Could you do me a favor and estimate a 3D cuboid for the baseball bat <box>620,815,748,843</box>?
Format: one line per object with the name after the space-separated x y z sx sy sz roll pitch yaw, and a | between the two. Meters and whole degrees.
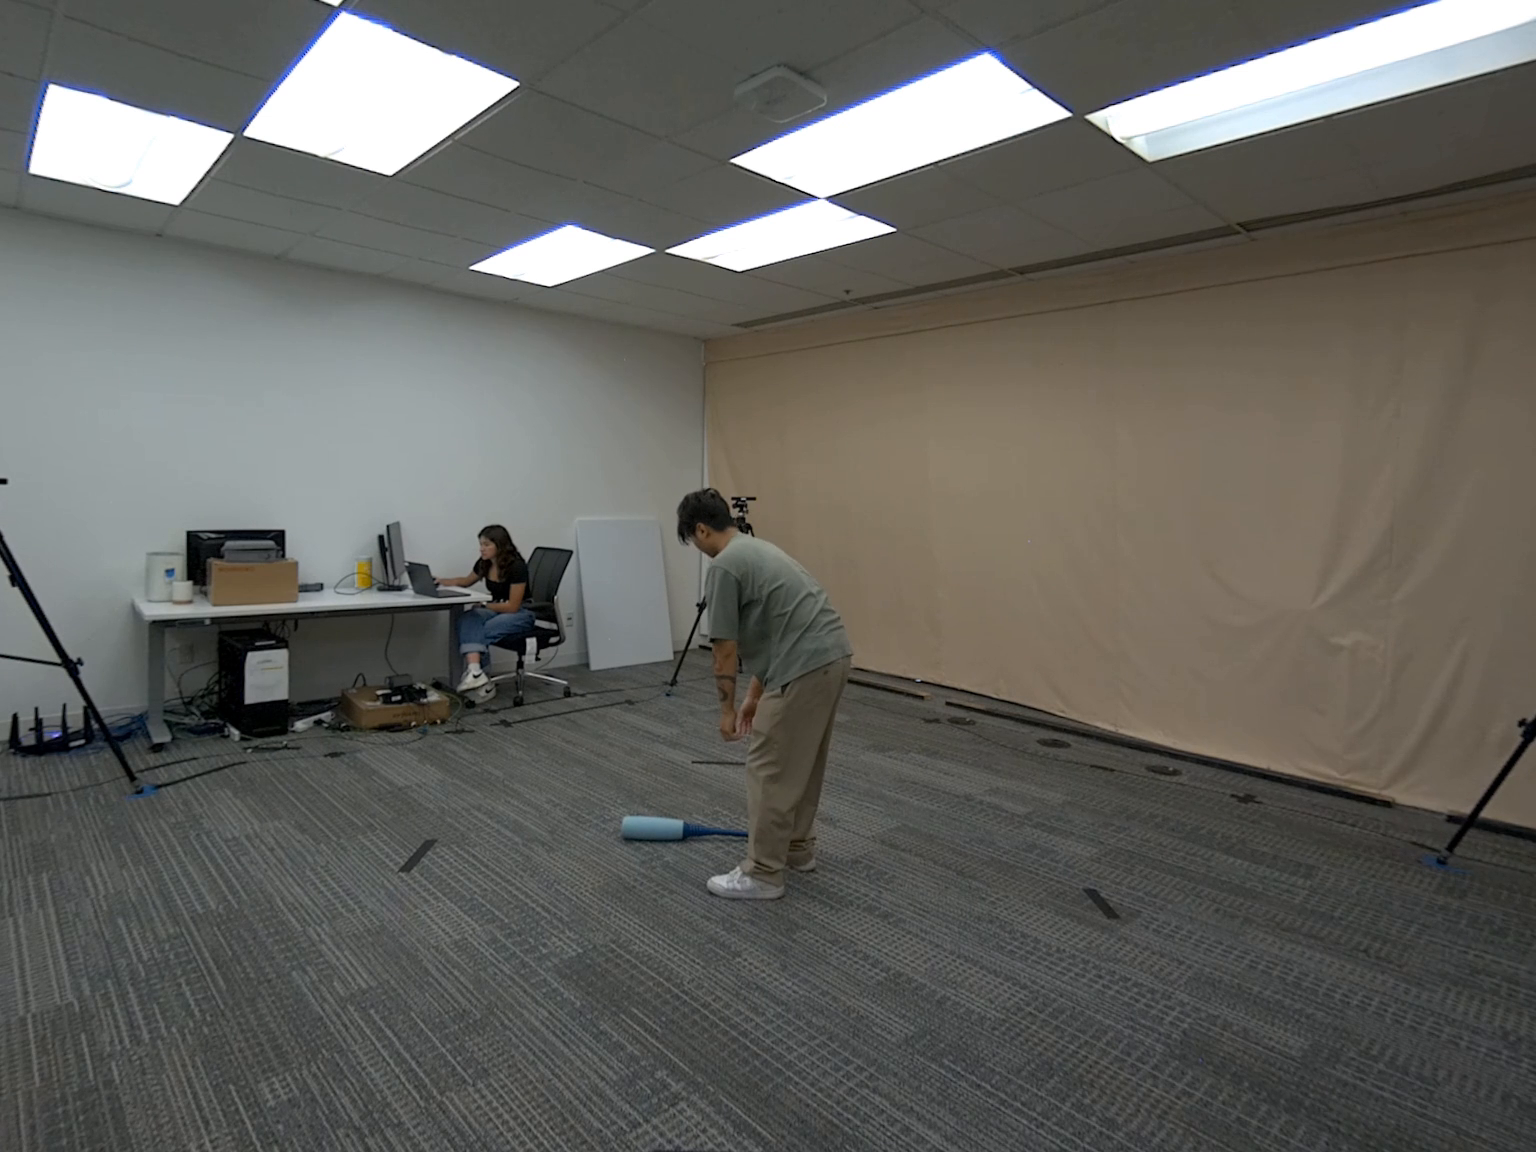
-0.332 1.037 3.423 0.543 0.089 0.089 3 4 0 | baseball bat
